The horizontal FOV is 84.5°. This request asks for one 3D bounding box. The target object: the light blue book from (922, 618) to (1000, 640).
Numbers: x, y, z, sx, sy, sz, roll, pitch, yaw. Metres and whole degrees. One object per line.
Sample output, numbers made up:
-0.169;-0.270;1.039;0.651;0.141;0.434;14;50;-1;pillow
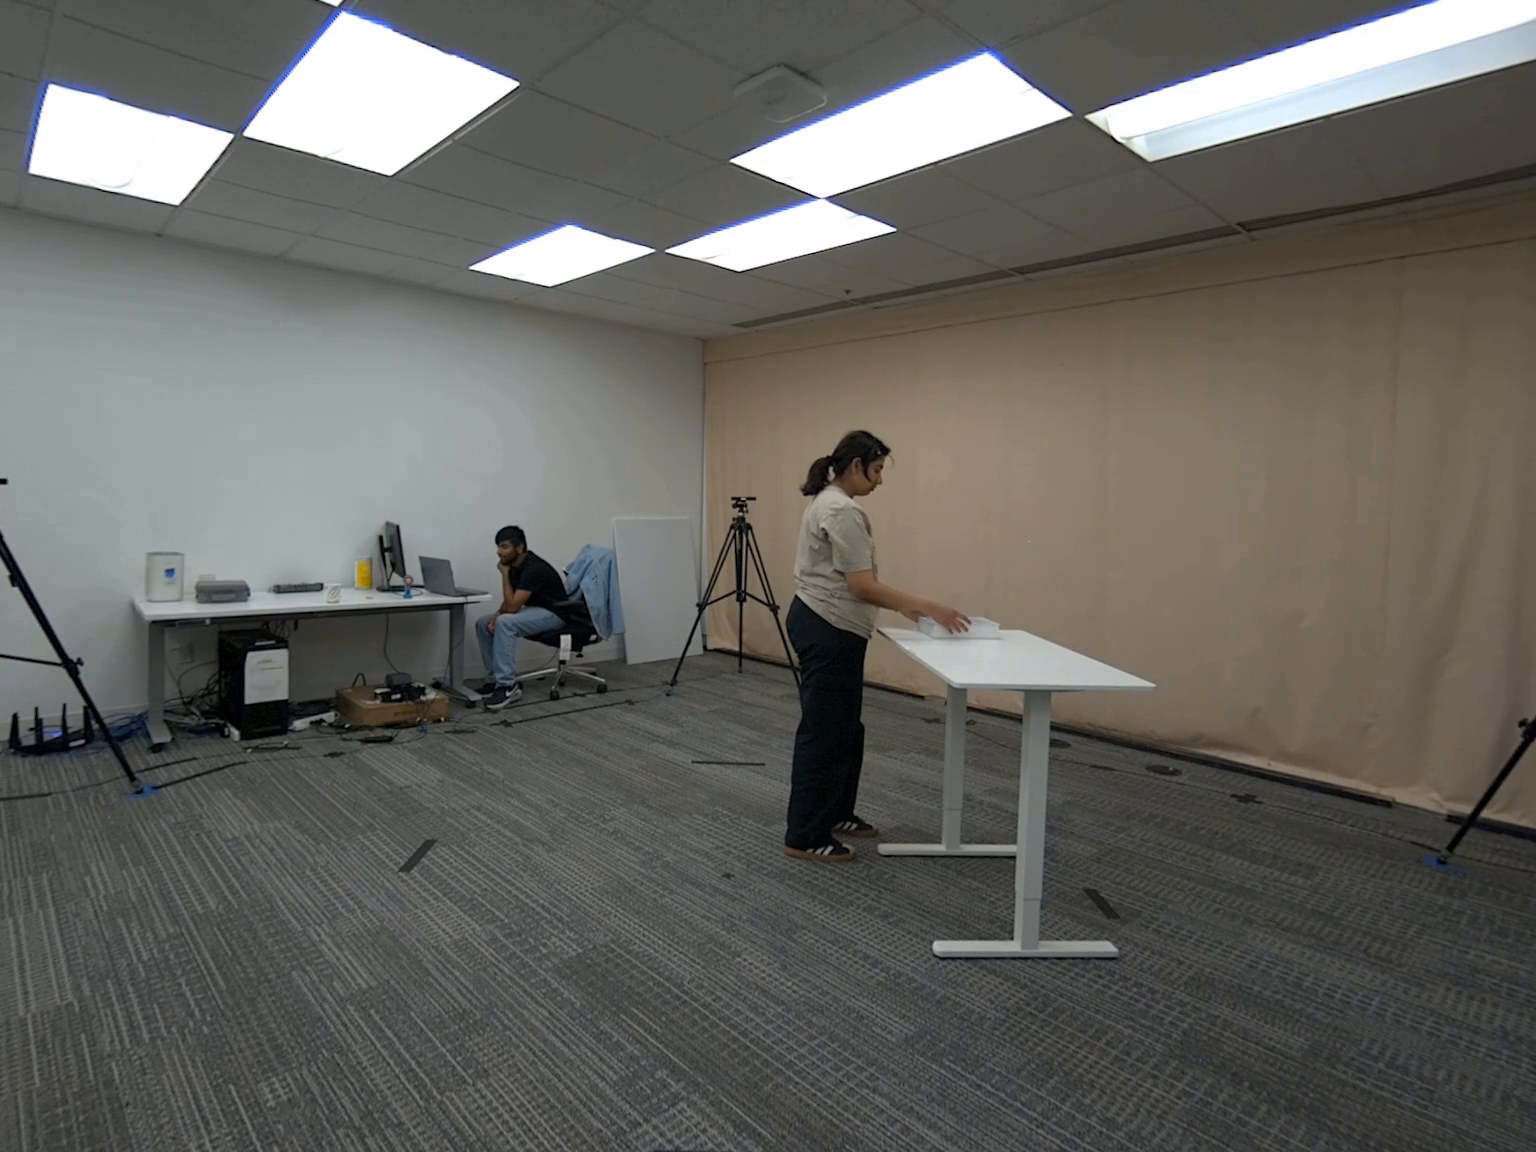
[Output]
0.777;0.200;3.280;0.189;0.059;0.264;1;3;-14;light blue book
